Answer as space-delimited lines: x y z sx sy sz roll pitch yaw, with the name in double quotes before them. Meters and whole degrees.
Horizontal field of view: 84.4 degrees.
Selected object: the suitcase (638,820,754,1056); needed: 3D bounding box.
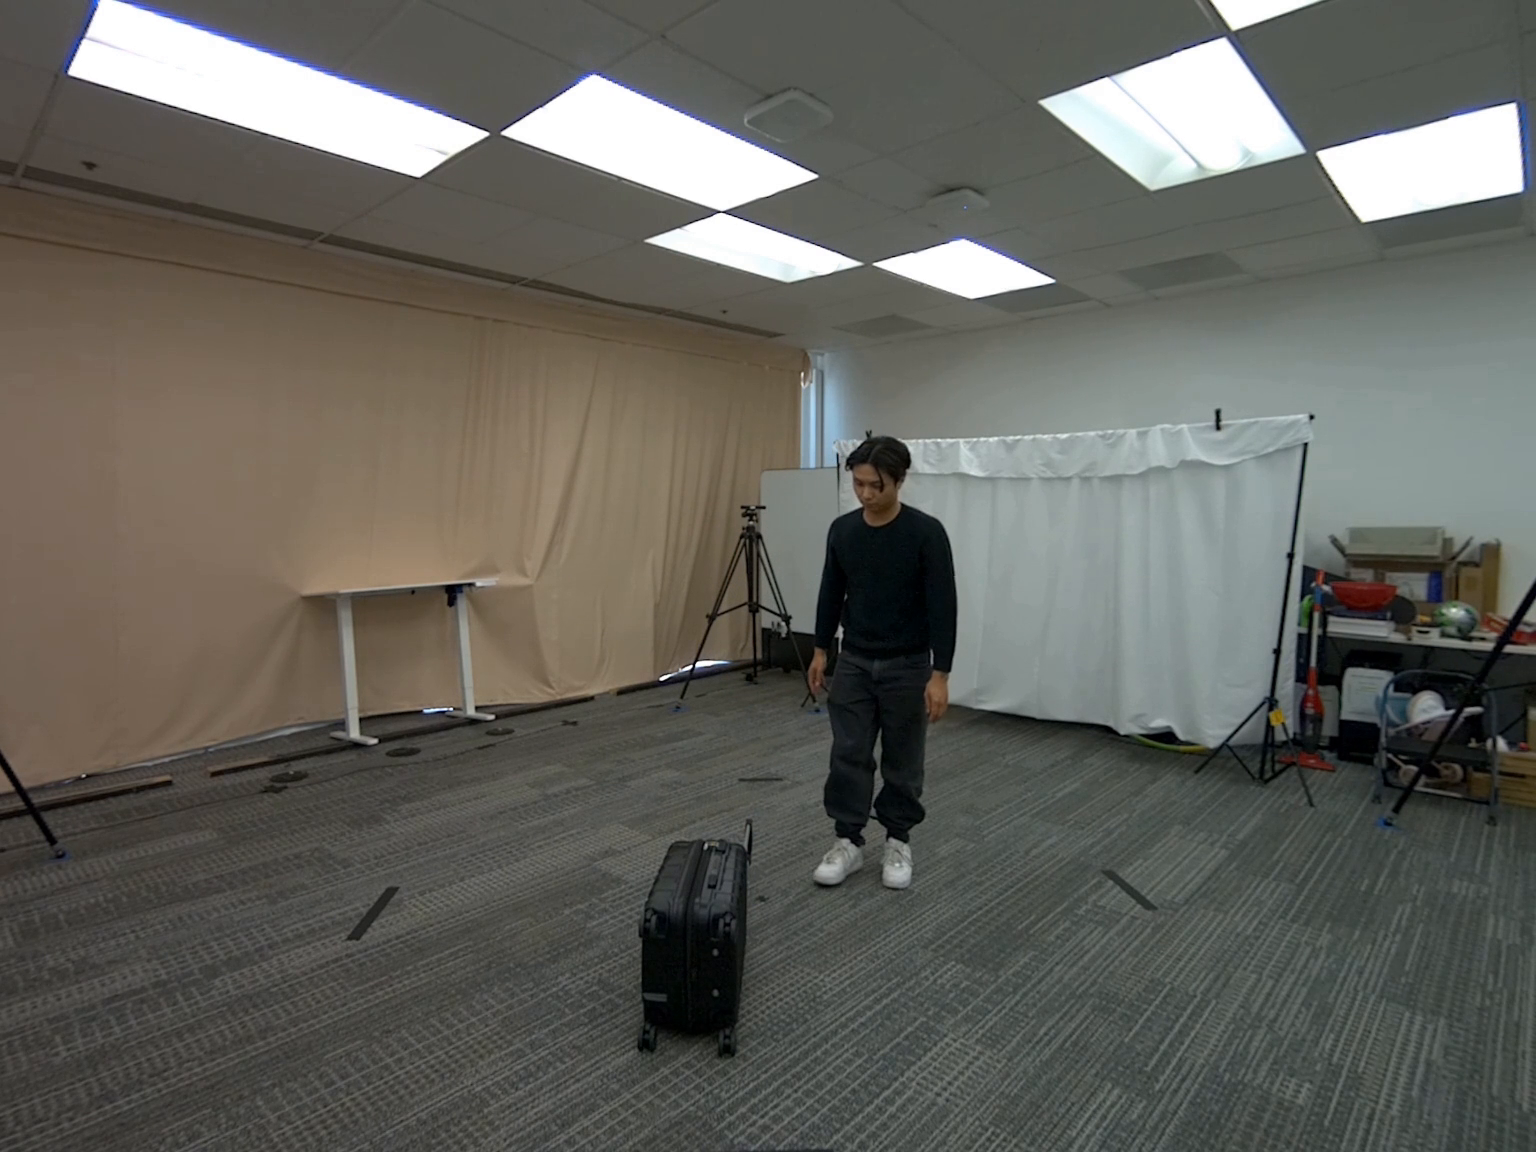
"suitcase" -0.193 0.988 2.600 0.258 0.383 0.978 1 4 1
